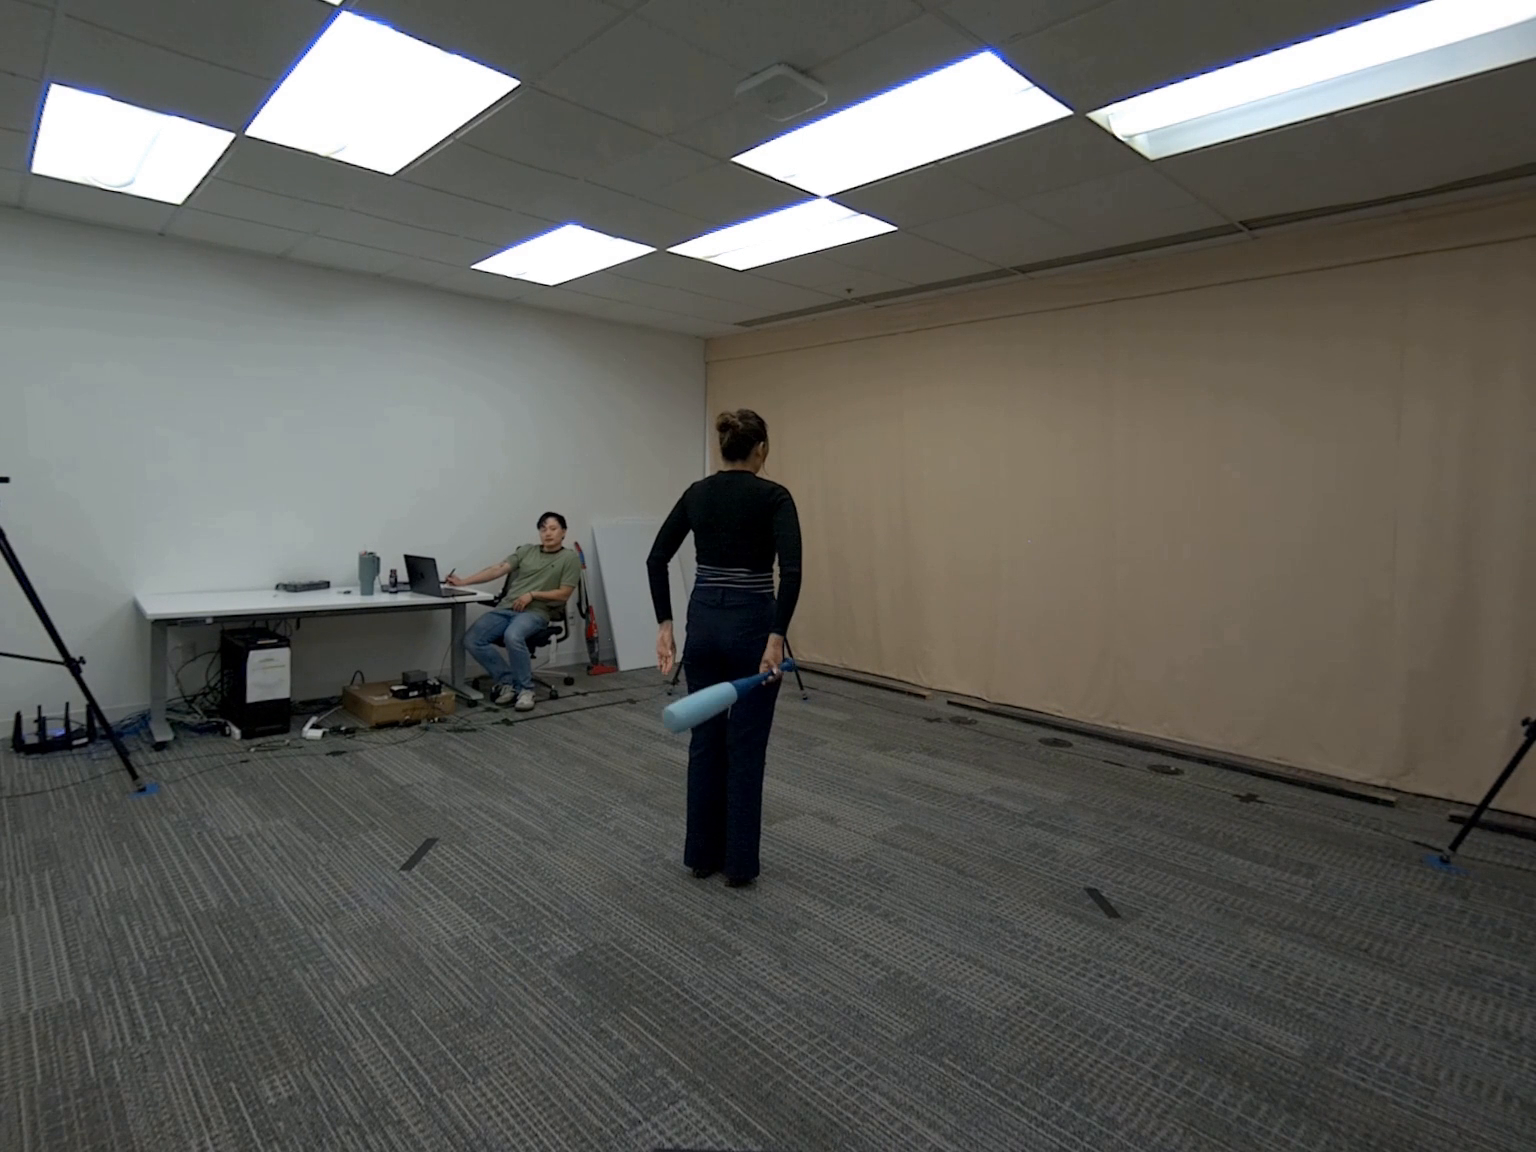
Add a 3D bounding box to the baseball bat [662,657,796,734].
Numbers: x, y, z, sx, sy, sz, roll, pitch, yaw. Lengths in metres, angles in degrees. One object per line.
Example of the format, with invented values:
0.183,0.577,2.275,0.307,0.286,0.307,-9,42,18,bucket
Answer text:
-0.109,0.367,2.679,0.091,0.088,0.535,6,19,45,baseball bat
